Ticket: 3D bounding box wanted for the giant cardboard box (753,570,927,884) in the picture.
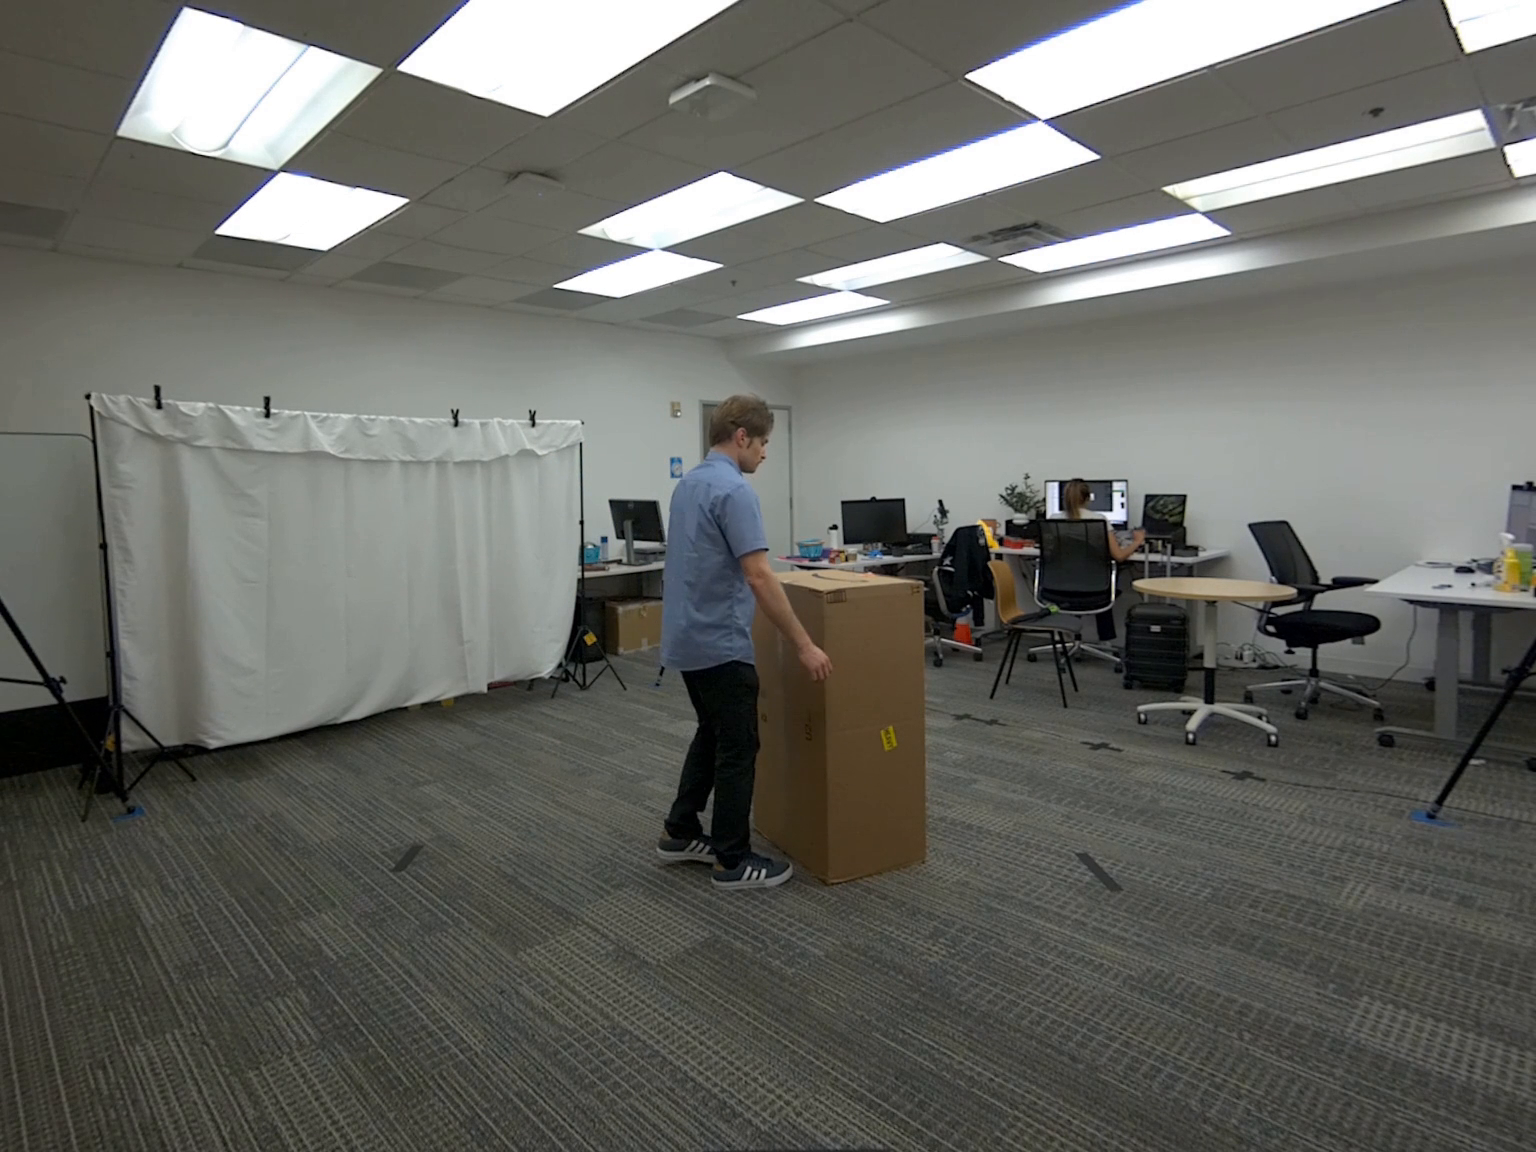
[{"bbox_3d":[0.252,0.516,3.250,0.417,1.022,0.592,-3,4,-27],"label":"giant cardboard box"}]
